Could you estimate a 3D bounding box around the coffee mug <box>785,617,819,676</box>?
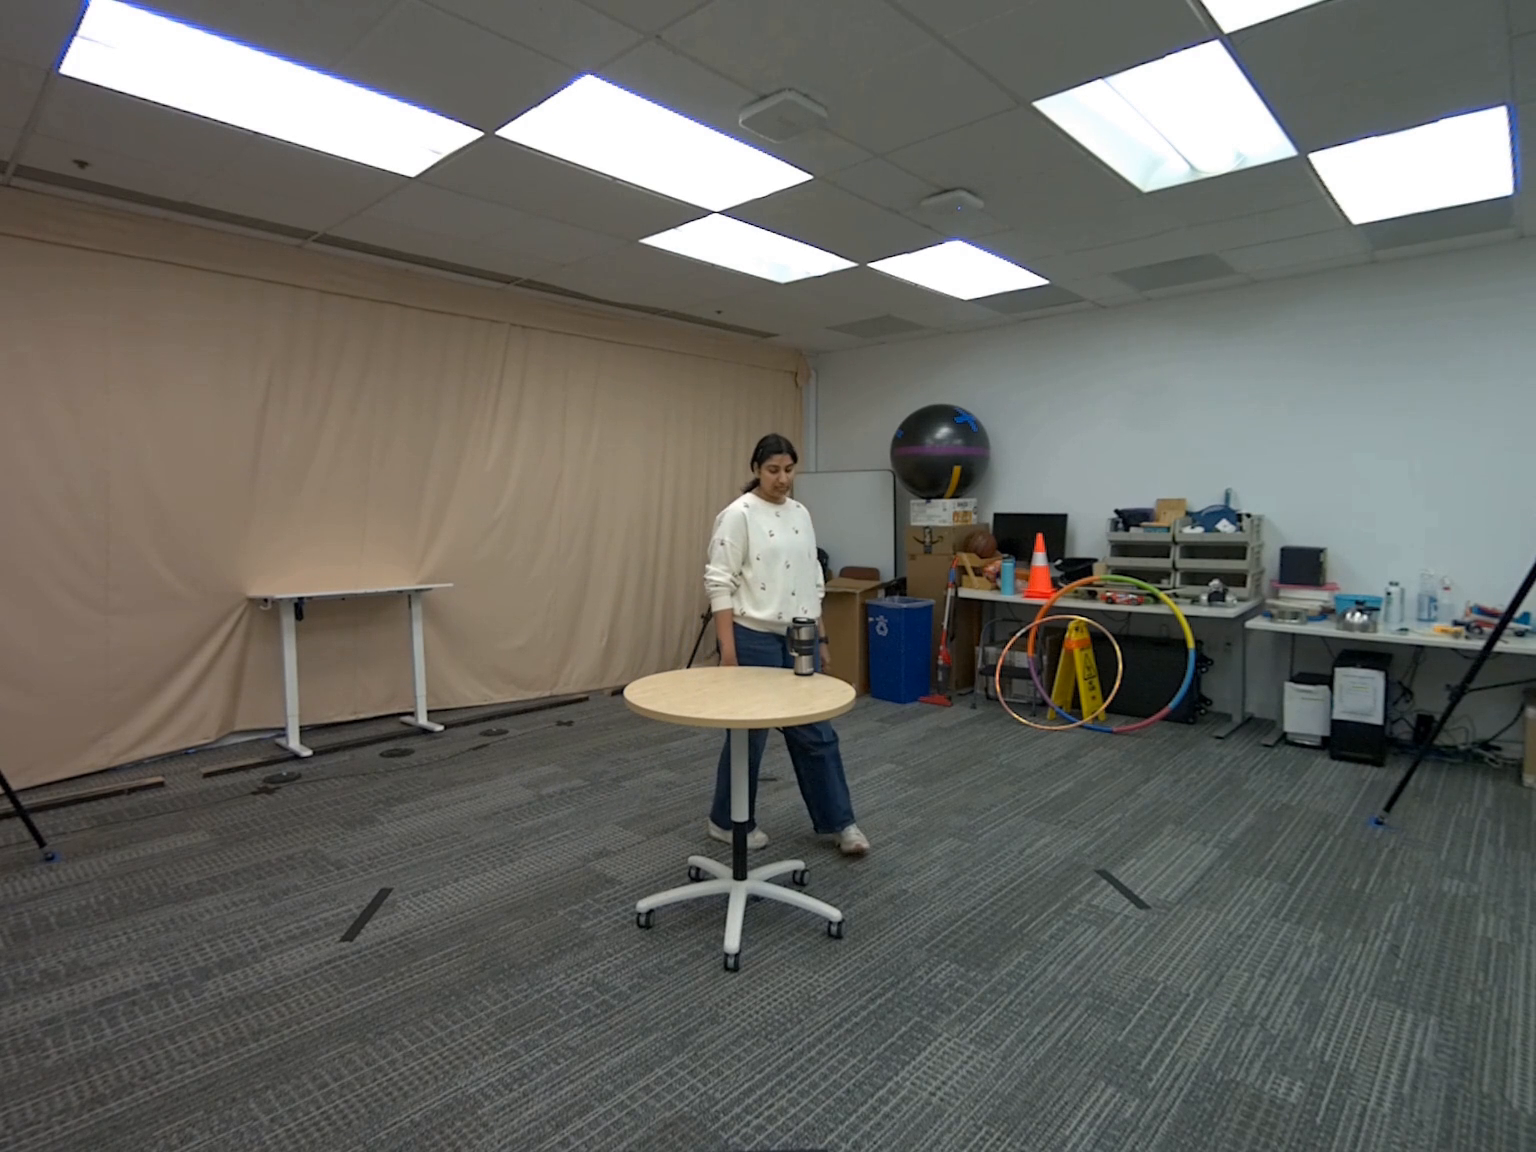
[{"bbox_3d":[0.106,0.252,3.017,0.119,0.202,0.090,1,6,-28],"label":"coffee mug"}]
